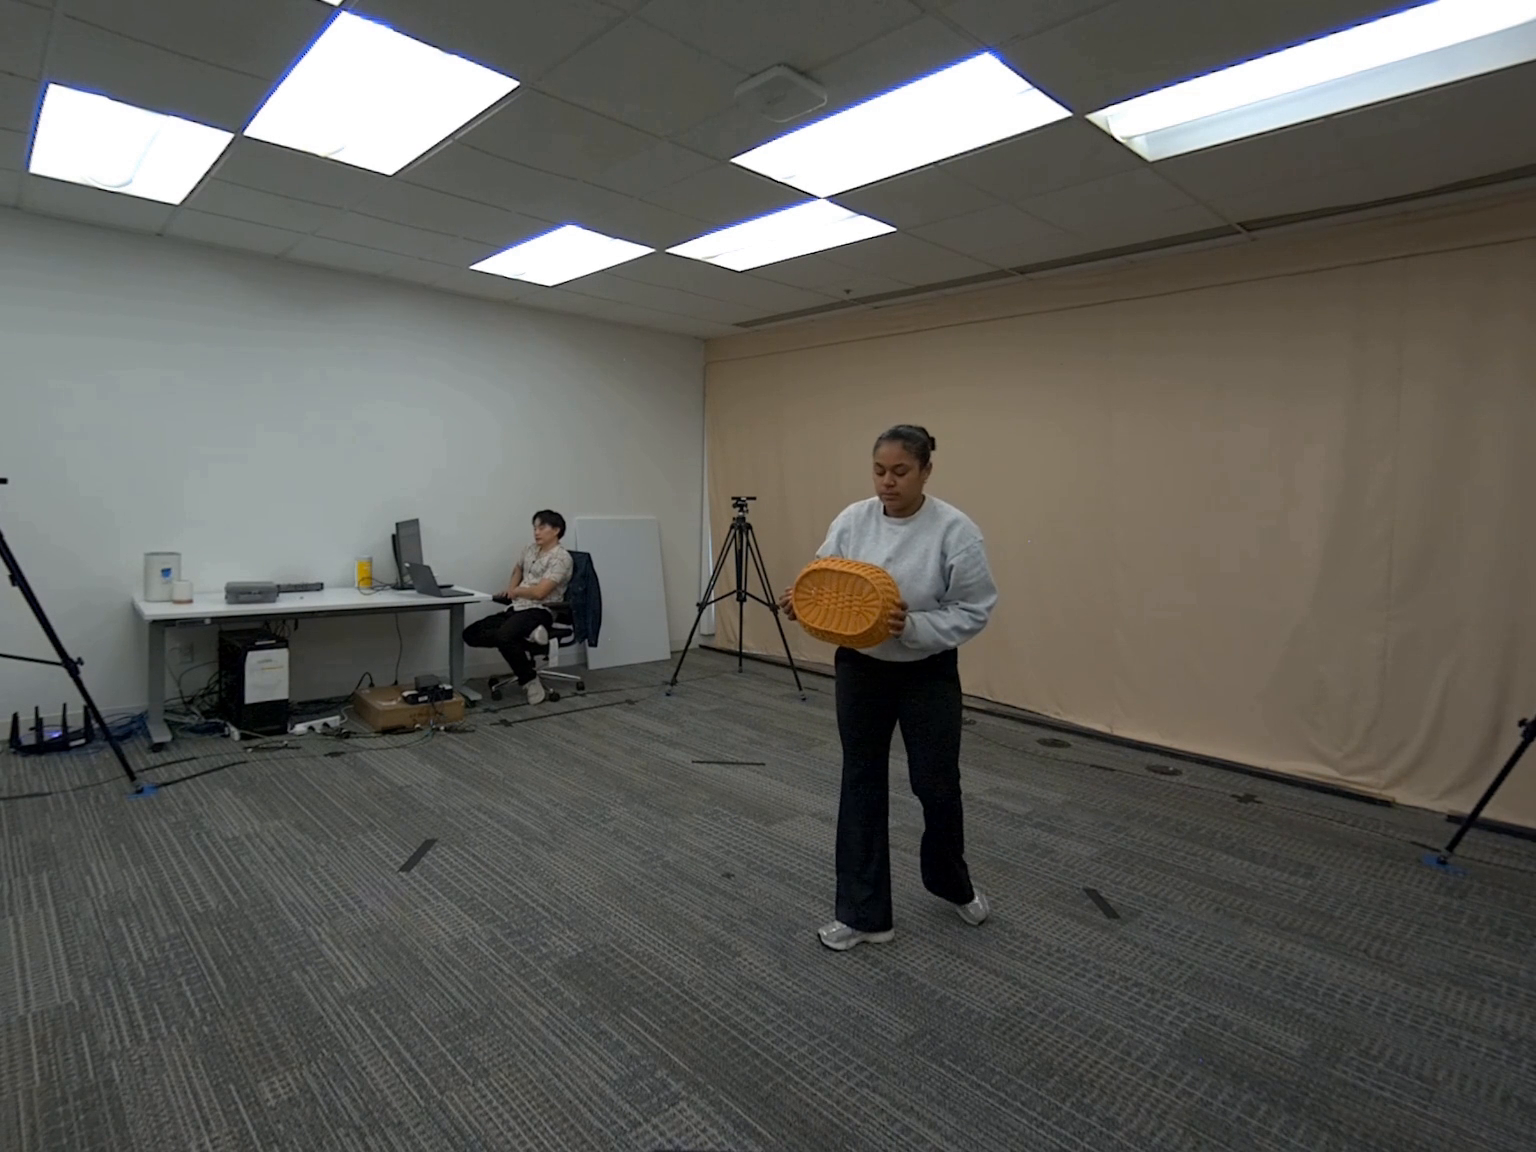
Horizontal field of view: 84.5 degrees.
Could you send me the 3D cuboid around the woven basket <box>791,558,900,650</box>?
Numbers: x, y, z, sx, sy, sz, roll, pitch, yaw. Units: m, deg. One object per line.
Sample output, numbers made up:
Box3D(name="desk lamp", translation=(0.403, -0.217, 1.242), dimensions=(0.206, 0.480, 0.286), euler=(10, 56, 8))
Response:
Box3D(name="woven basket", translation=(0.210, 0.075, 2.408), dimensions=(0.359, 0.253, 0.071), euler=(12, -3, 34))
